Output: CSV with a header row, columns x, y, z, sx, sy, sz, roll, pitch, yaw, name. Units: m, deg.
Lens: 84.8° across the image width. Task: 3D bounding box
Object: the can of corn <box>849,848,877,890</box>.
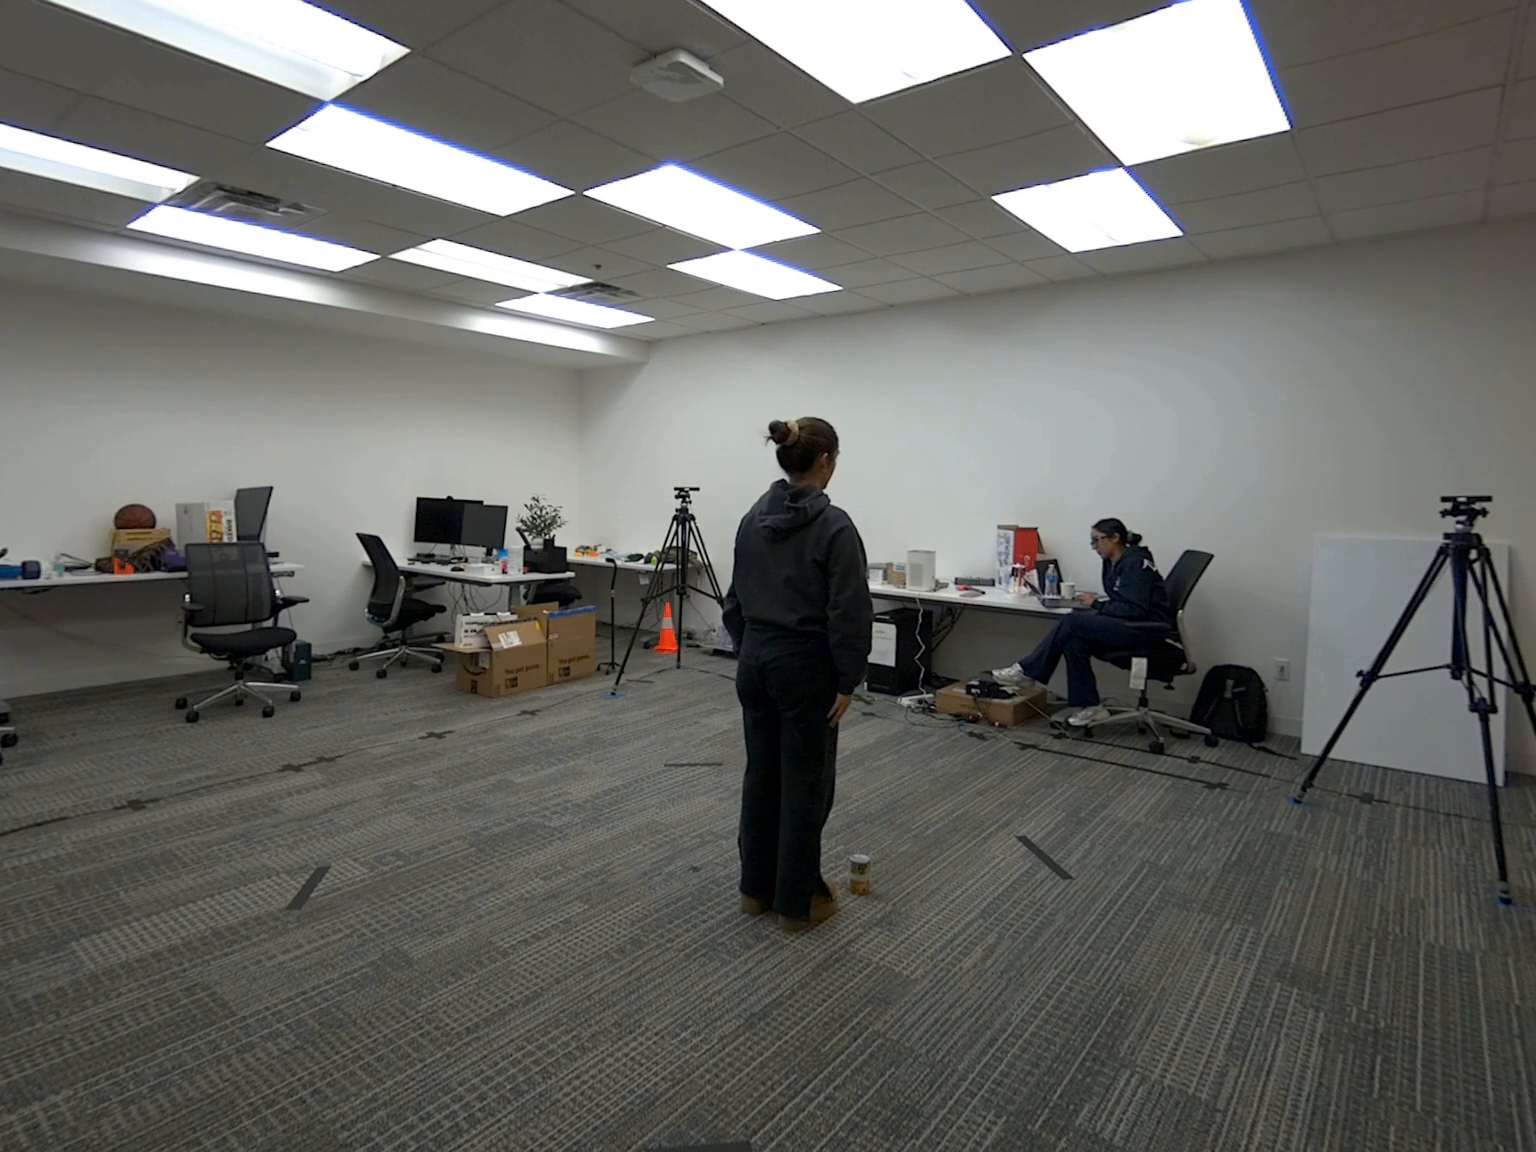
x,y,z,sx,sy,sz,roll,pitch,yaw,name
0.333,1.032,2.968,0.074,0.111,0.074,-4,4,-2,can of corn
